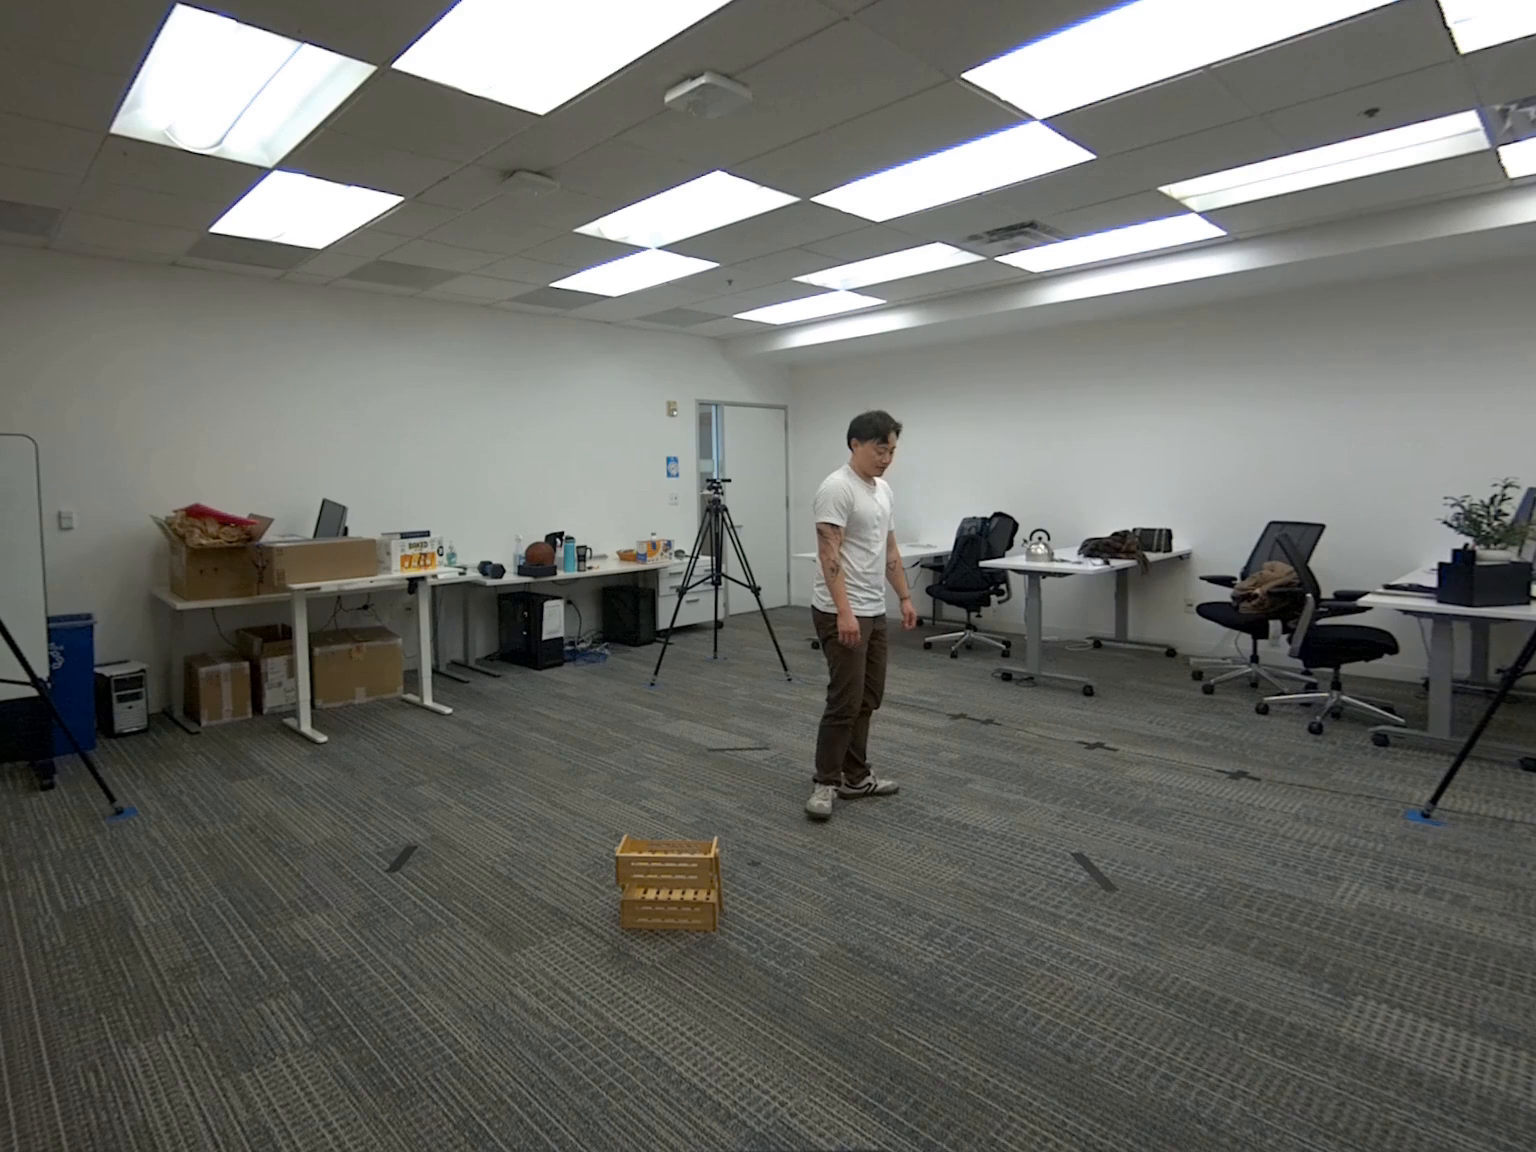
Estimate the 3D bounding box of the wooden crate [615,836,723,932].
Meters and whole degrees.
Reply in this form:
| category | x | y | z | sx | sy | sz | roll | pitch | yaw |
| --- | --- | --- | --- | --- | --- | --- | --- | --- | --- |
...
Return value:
| category | x | y | z | sx | sy | sz | roll | pitch | yaw |
| --- | --- | --- | --- | --- | --- | --- | --- | --- | --- |
| wooden crate | -0.307 | 0.956 | 2.750 | 0.326 | 0.272 | 0.302 | -1 | 6 | 3 |
